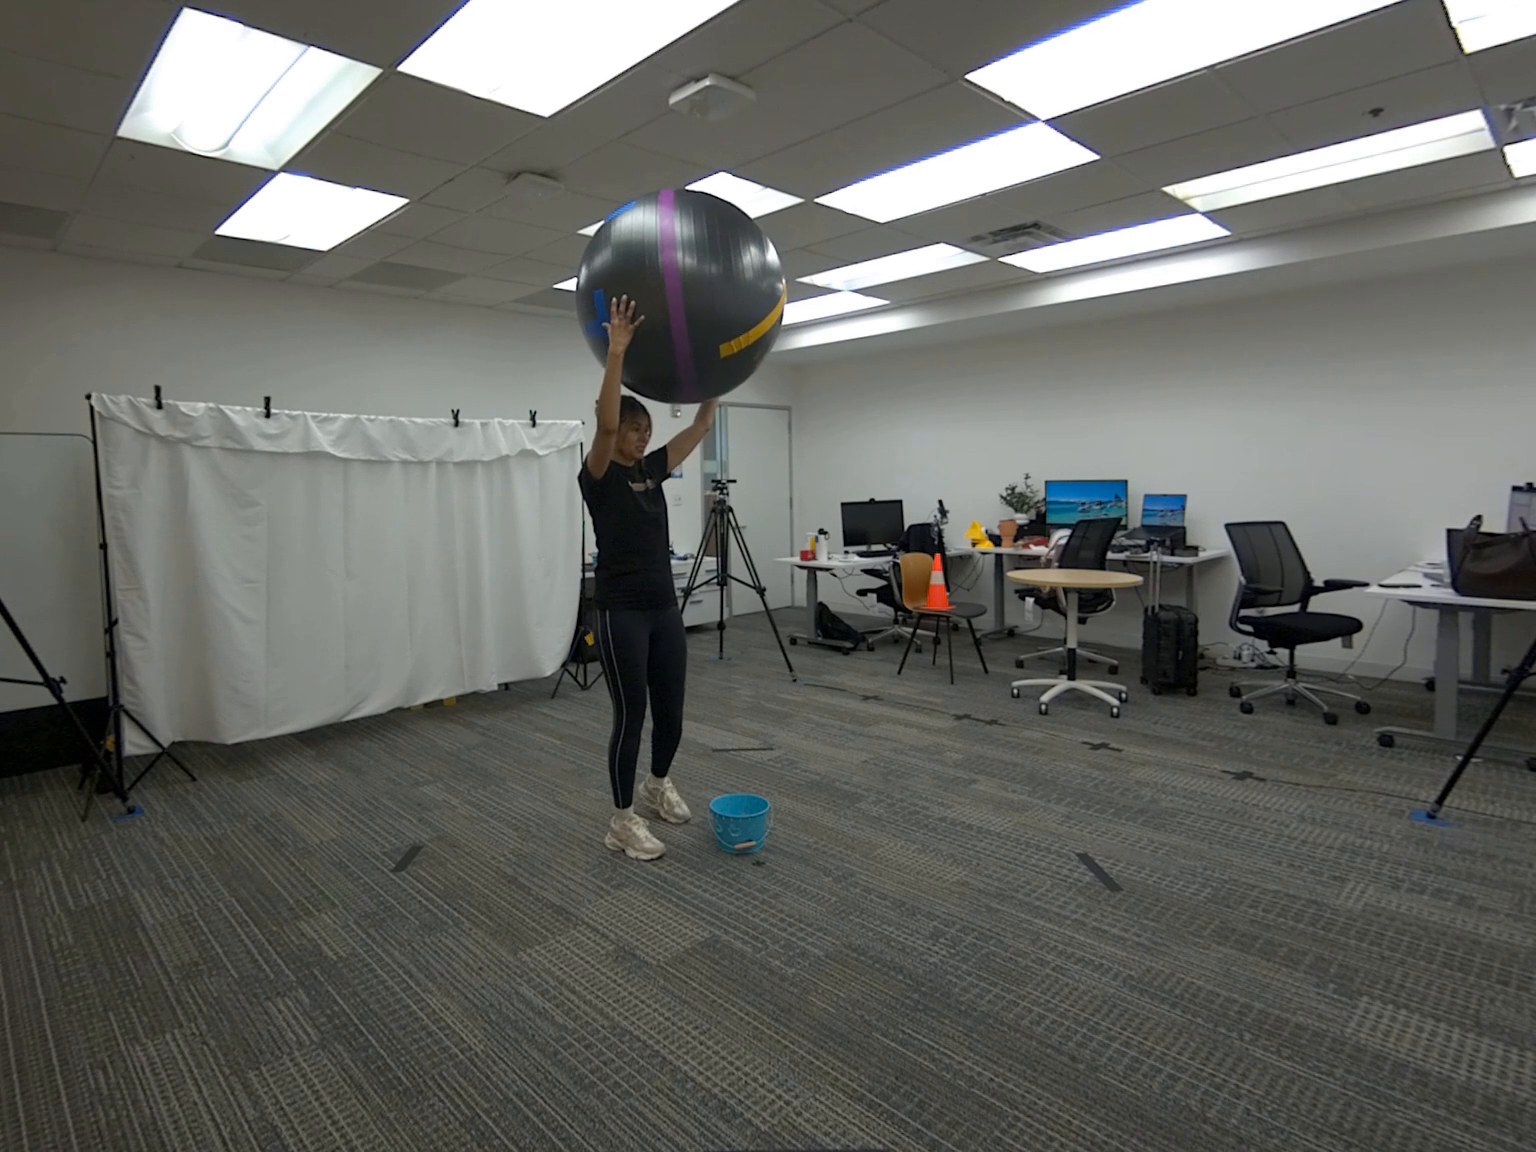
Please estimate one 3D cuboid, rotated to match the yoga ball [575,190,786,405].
[{"bbox_3d":[-0.310,-1.003,3.111,0.757,0.755,0.762,-1,5,-2],"label":"yoga ball"}]
